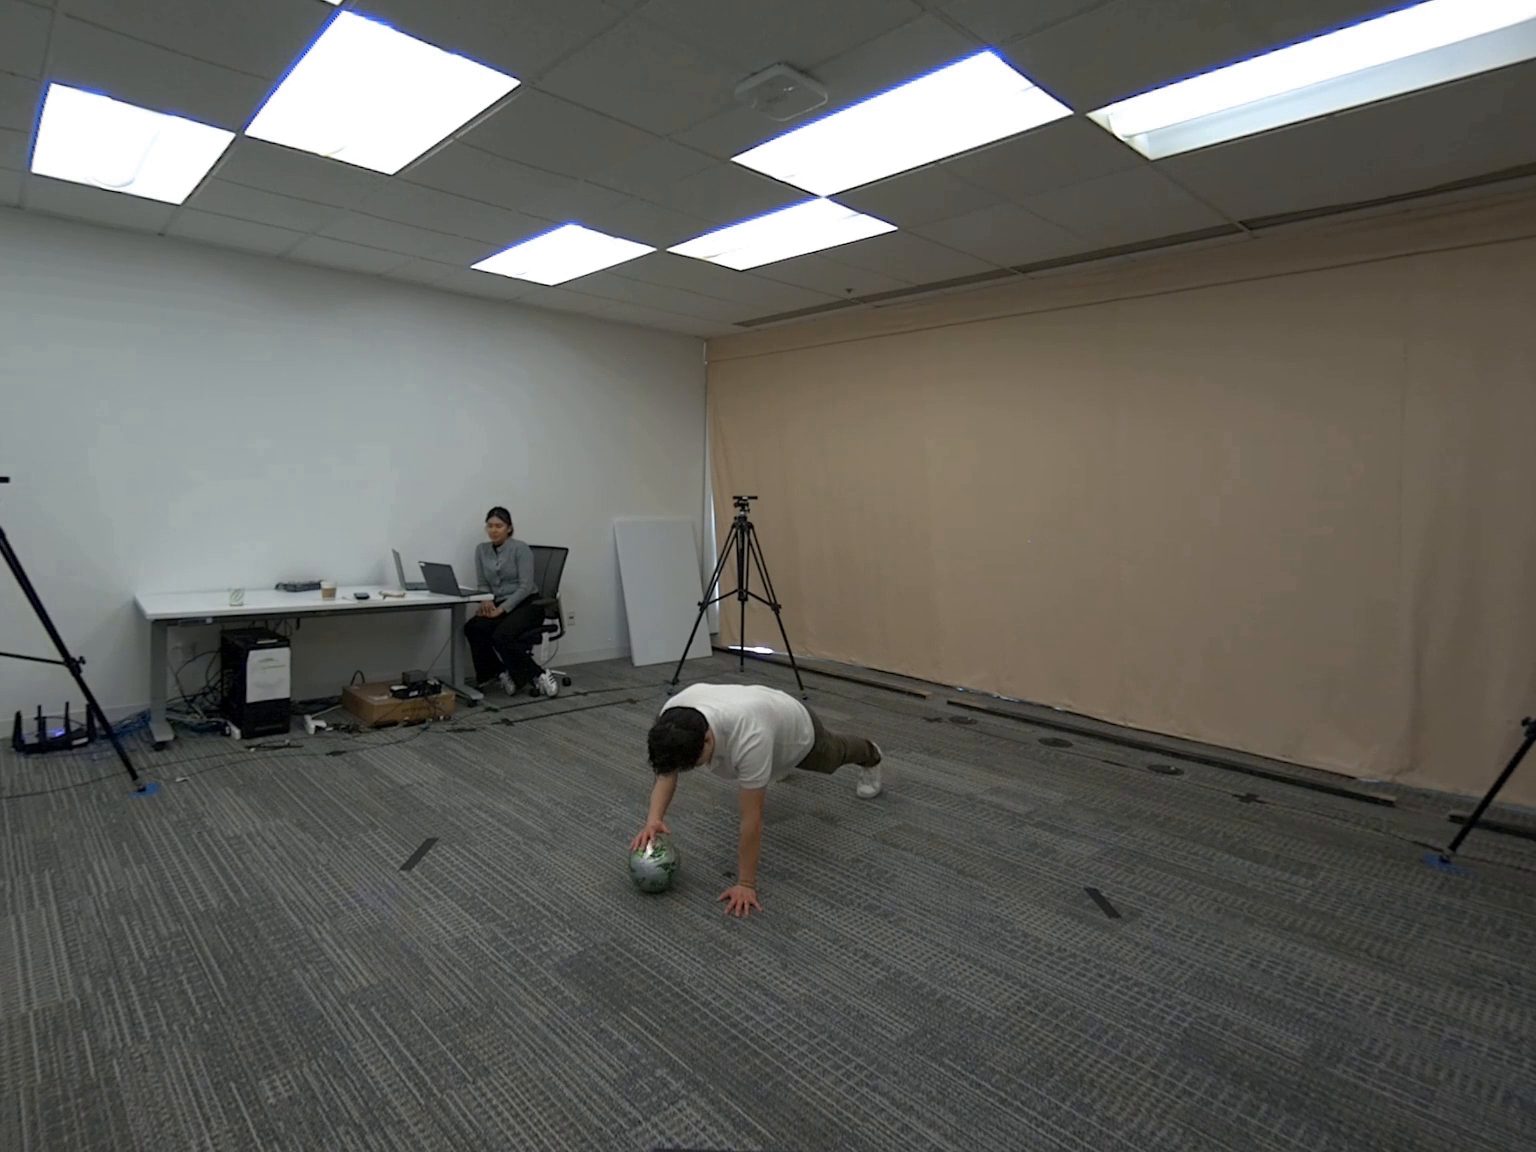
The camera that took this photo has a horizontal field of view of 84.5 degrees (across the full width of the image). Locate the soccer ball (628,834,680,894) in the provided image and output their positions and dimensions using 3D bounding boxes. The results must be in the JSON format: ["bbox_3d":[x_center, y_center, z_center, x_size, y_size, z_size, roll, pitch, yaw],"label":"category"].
[{"bbox_3d":[-0.413,1.013,2.968,0.187,0.187,0.188,1,4,-1],"label":"soccer ball"}]
